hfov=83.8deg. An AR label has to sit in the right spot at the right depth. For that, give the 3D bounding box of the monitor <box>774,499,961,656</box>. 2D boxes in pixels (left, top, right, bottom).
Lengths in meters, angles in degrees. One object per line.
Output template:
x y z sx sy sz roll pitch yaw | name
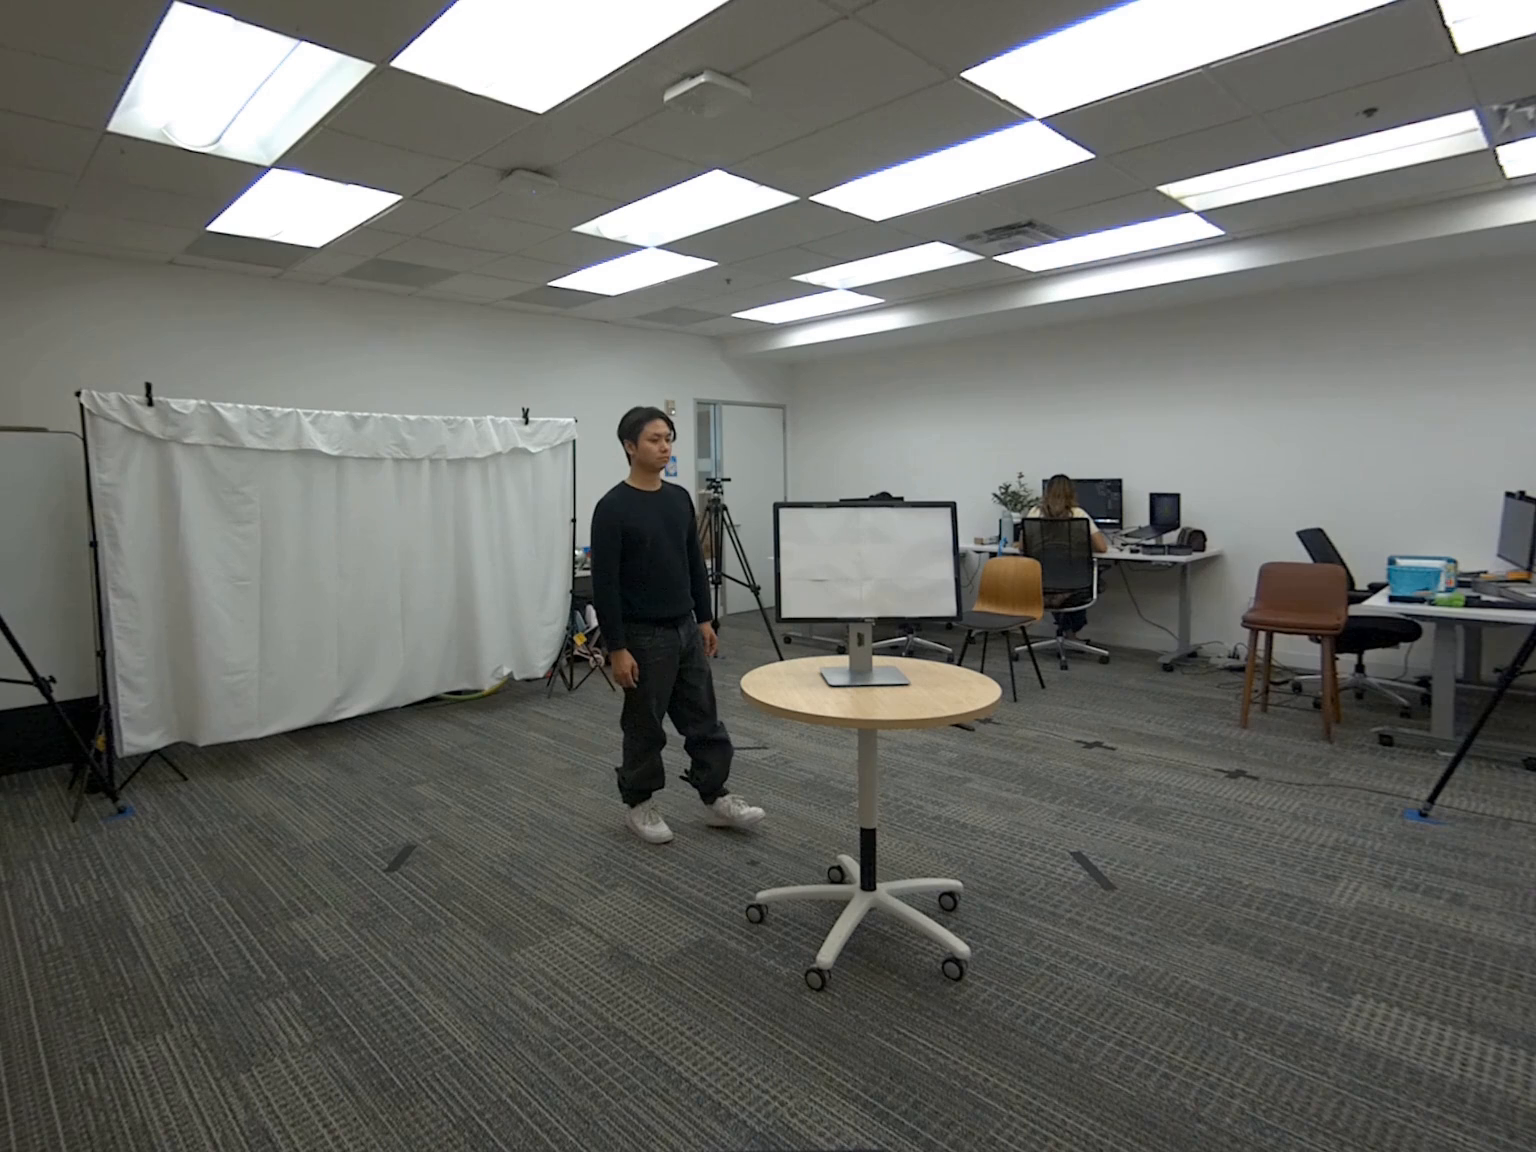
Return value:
0.293 0.048 2.596 0.528 0.512 0.176 0 7 -4 | monitor
